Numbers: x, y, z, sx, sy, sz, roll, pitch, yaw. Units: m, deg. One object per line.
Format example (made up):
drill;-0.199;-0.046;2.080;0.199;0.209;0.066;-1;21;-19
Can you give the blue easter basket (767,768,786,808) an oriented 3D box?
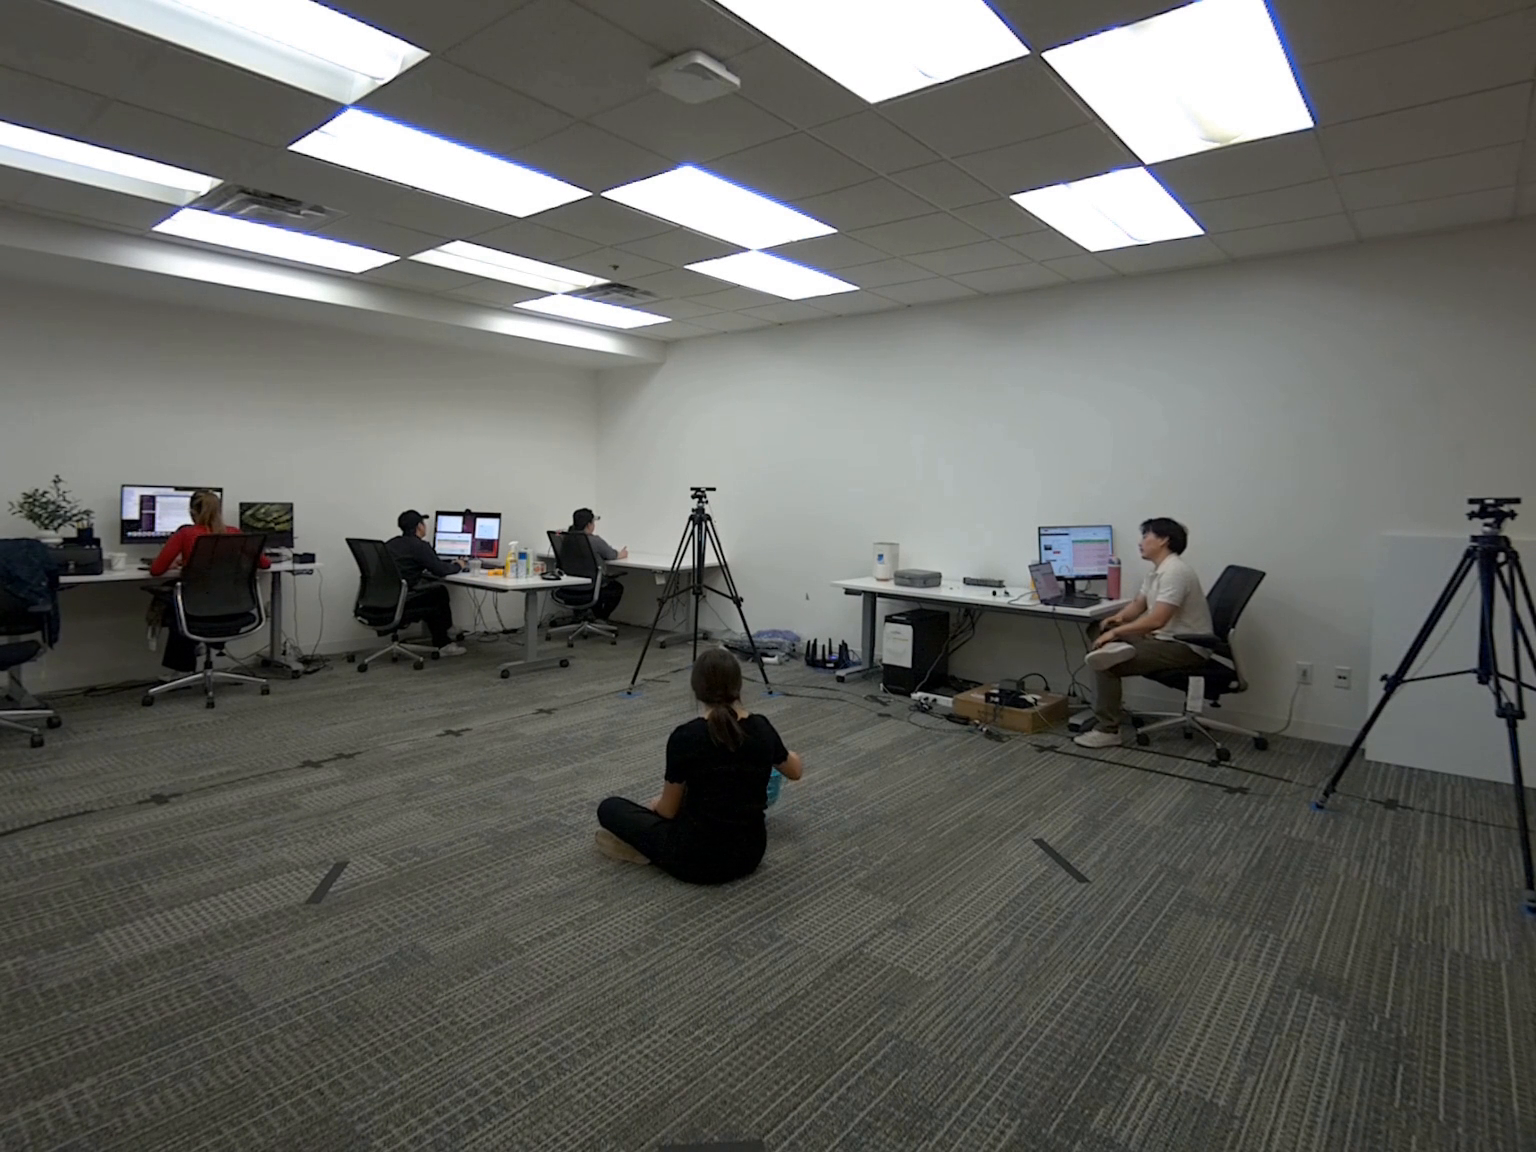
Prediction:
blue easter basket;-0.057;0.841;3.536;0.243;0.154;0.246;5;11;-3
